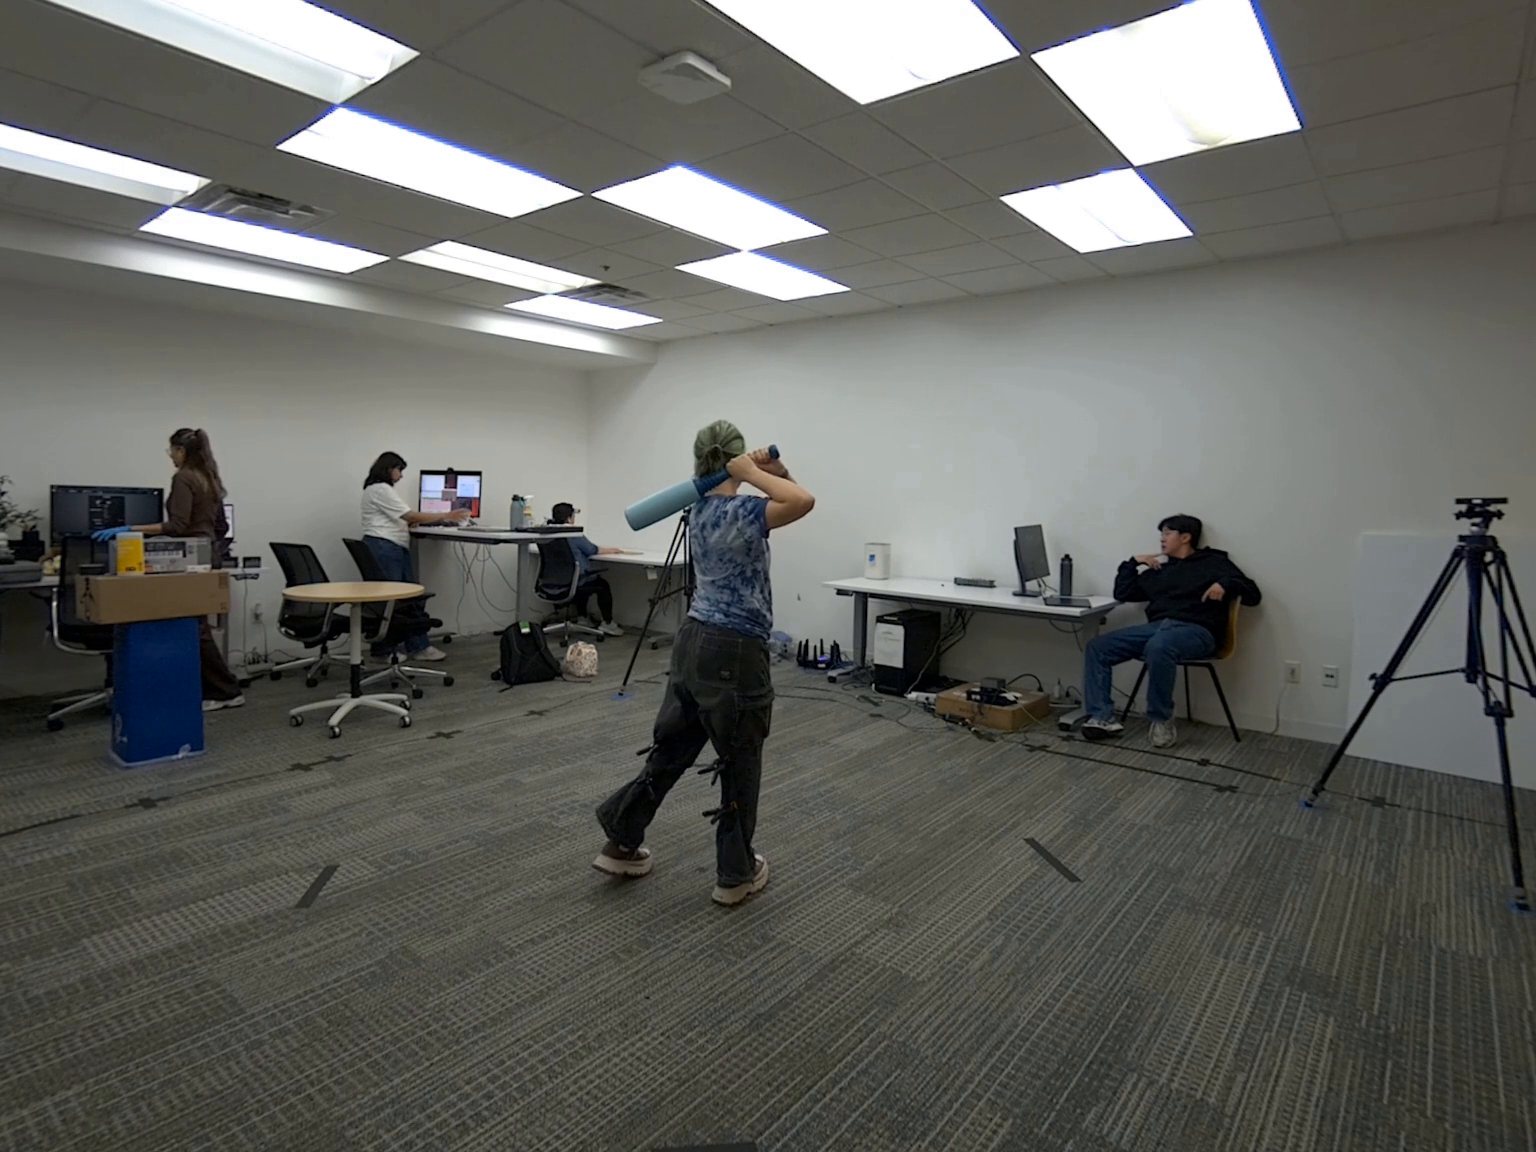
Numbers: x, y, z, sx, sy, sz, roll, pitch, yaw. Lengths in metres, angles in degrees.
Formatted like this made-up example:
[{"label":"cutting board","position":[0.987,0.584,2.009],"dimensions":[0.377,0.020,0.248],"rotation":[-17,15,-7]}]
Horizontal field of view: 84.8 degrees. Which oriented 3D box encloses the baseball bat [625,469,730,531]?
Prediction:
[{"label":"baseball bat","position":[-0.225,-0.293,2.771],"dimensions":[0.544,0.089,0.089],"rotation":[-25,3,4]}]
